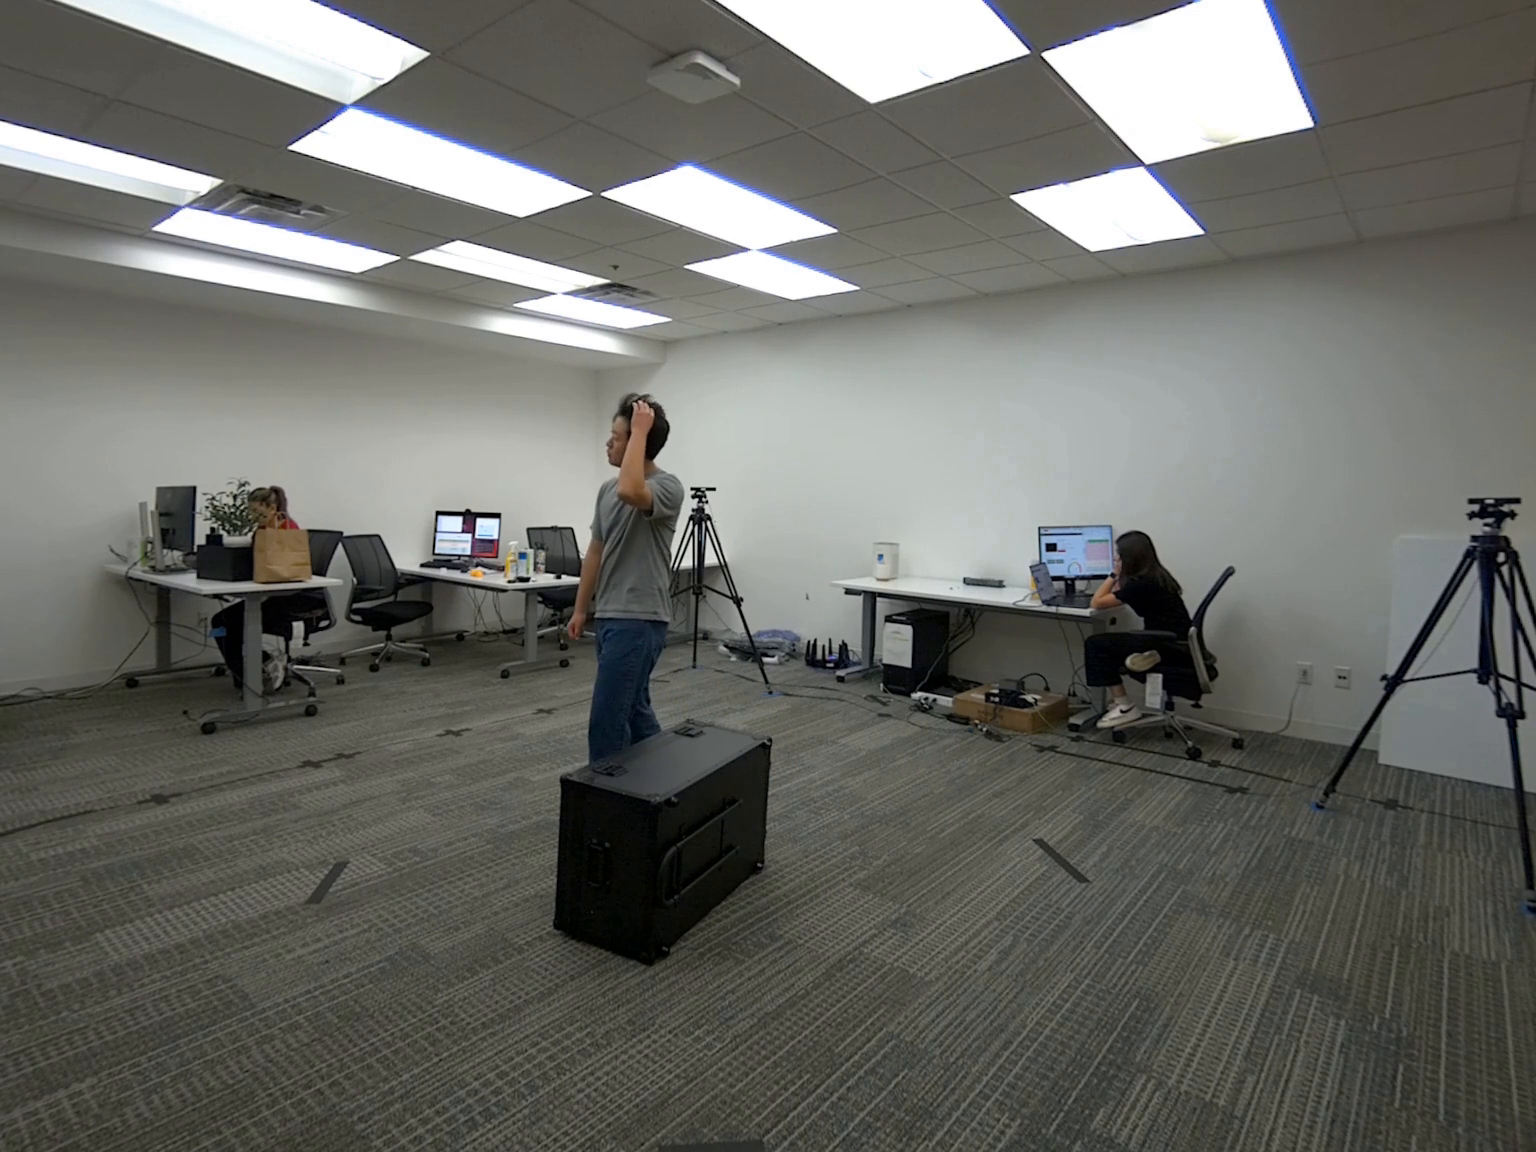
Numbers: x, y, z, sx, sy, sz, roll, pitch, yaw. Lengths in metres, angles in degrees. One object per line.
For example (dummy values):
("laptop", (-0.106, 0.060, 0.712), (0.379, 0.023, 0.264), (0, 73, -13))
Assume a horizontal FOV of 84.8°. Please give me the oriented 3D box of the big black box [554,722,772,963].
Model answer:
("big black box", (-0.304, 0.827, 2.884), (0.407, 0.519, 0.842), (5, 6, 25))
